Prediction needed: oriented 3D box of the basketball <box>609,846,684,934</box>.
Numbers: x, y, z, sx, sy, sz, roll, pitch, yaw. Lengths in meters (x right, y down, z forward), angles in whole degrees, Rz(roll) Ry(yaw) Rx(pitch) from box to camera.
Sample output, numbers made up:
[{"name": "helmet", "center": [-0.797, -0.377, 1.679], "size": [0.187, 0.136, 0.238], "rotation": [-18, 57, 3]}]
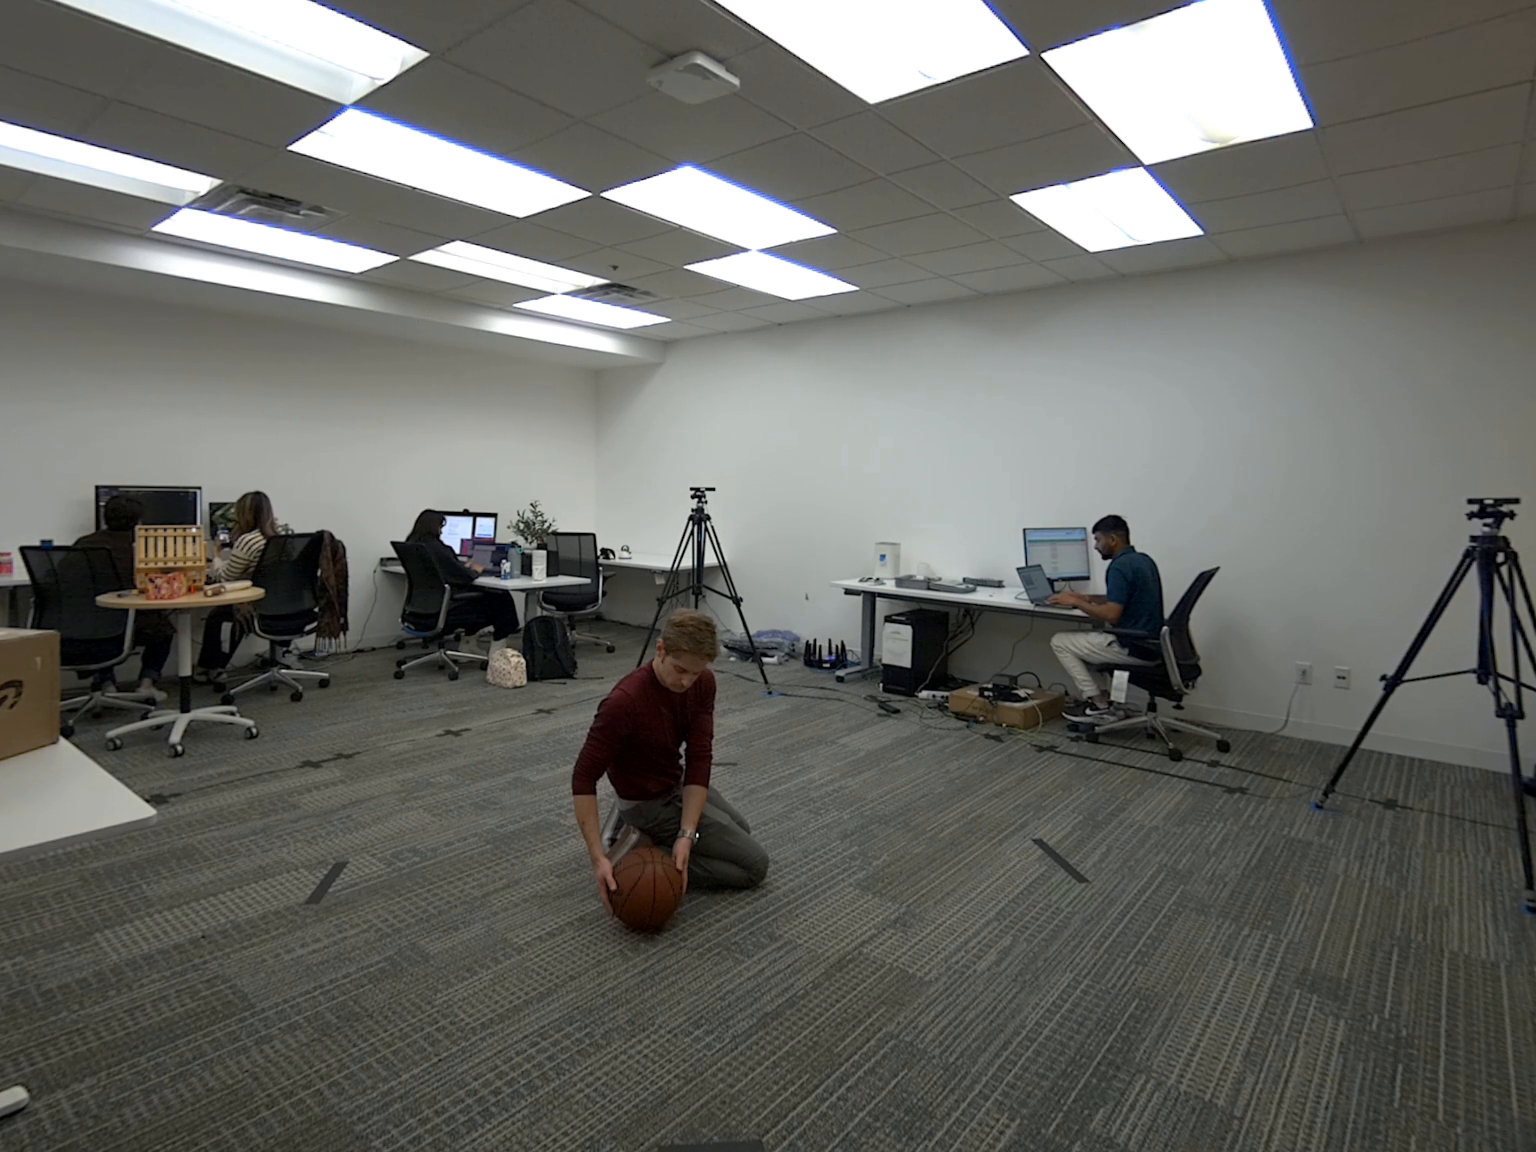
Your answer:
[{"name": "basketball", "center": [-0.389, 0.981, 2.694], "size": [0.235, 0.235, 0.237], "rotation": [1, 4, -2]}]
